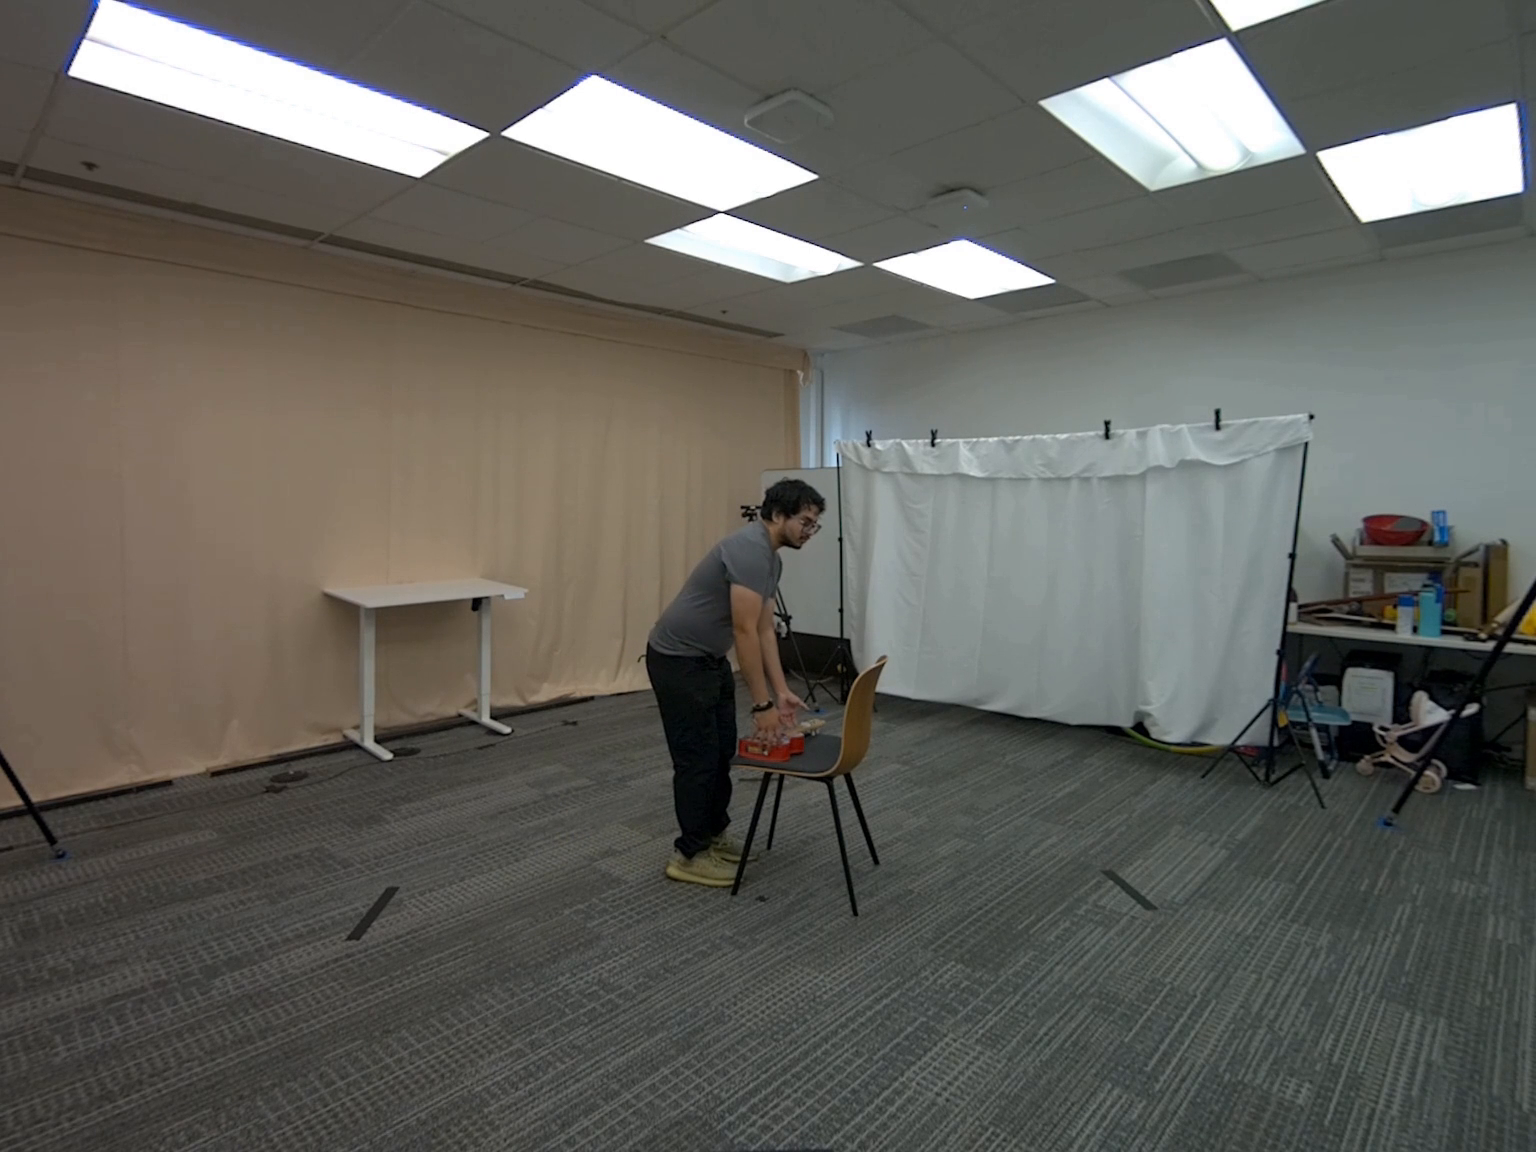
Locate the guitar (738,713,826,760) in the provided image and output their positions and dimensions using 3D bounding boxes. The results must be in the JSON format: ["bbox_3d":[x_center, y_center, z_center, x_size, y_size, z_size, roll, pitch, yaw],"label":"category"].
[{"bbox_3d":[0.108,0.622,3.155,0.199,0.070,0.482,5,4,43],"label":"guitar"}]
